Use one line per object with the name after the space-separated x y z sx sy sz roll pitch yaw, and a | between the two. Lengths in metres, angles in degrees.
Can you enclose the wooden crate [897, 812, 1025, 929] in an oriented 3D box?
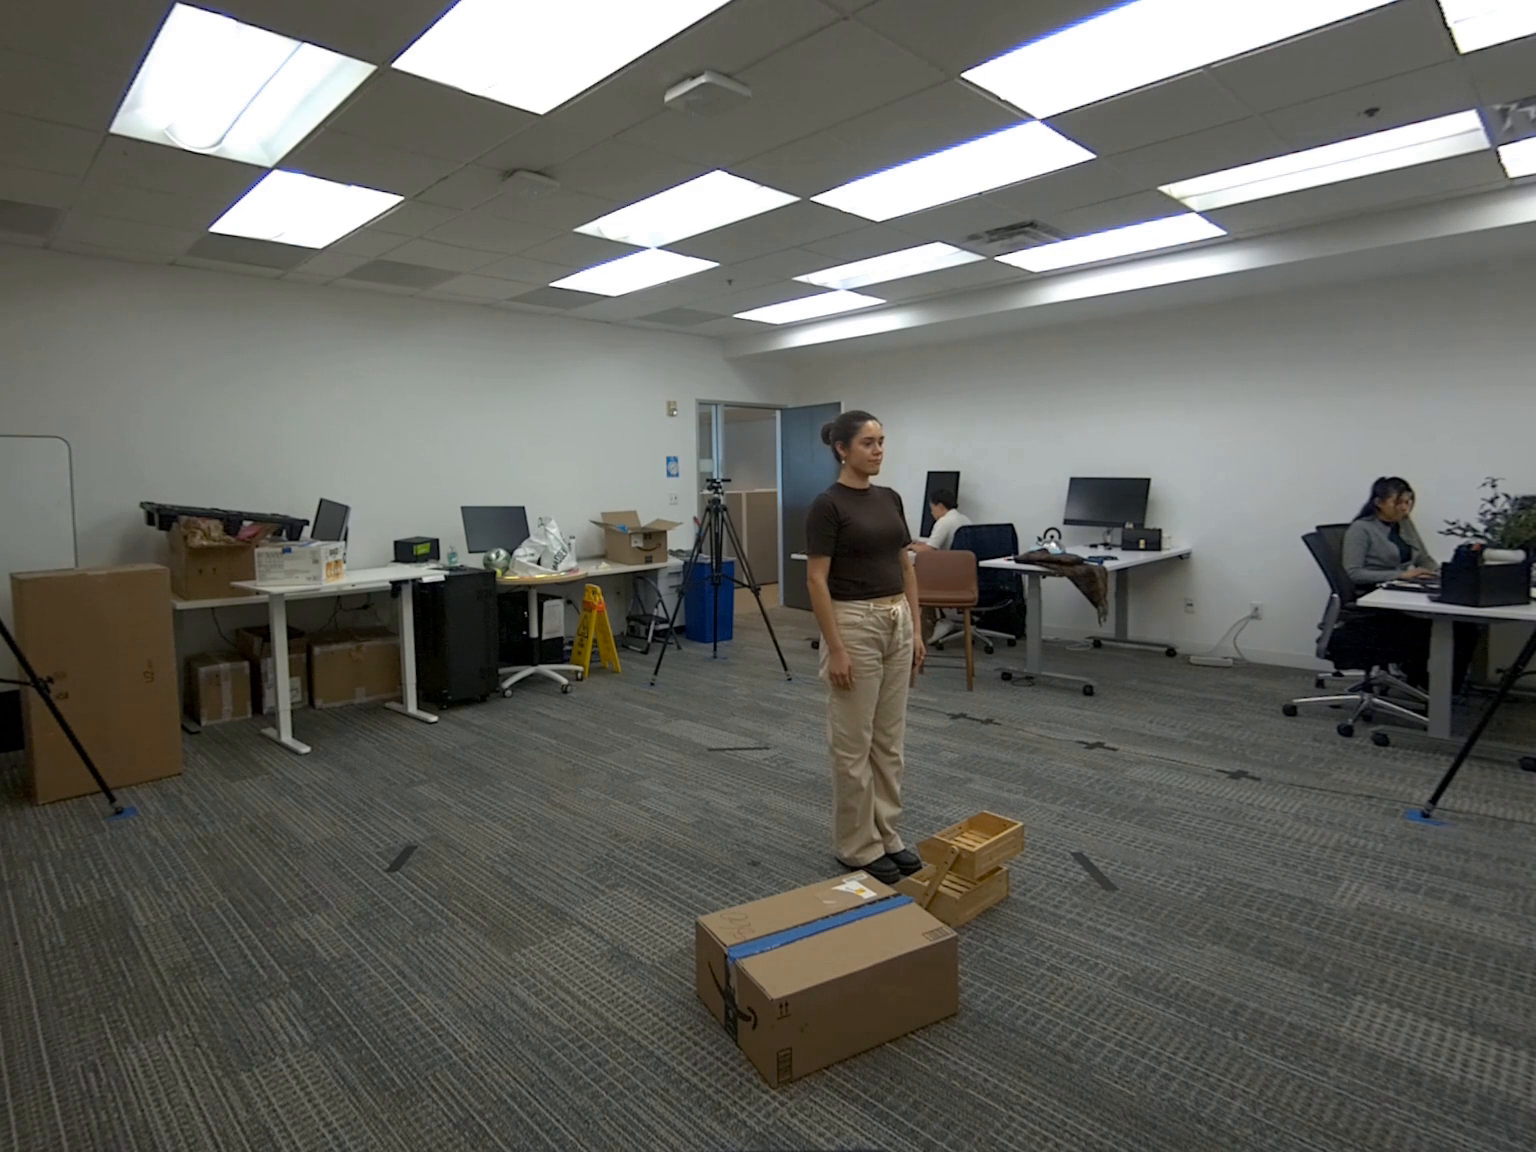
0.625 0.927 2.803 0.316 0.272 0.311 -5 7 -43 | wooden crate
